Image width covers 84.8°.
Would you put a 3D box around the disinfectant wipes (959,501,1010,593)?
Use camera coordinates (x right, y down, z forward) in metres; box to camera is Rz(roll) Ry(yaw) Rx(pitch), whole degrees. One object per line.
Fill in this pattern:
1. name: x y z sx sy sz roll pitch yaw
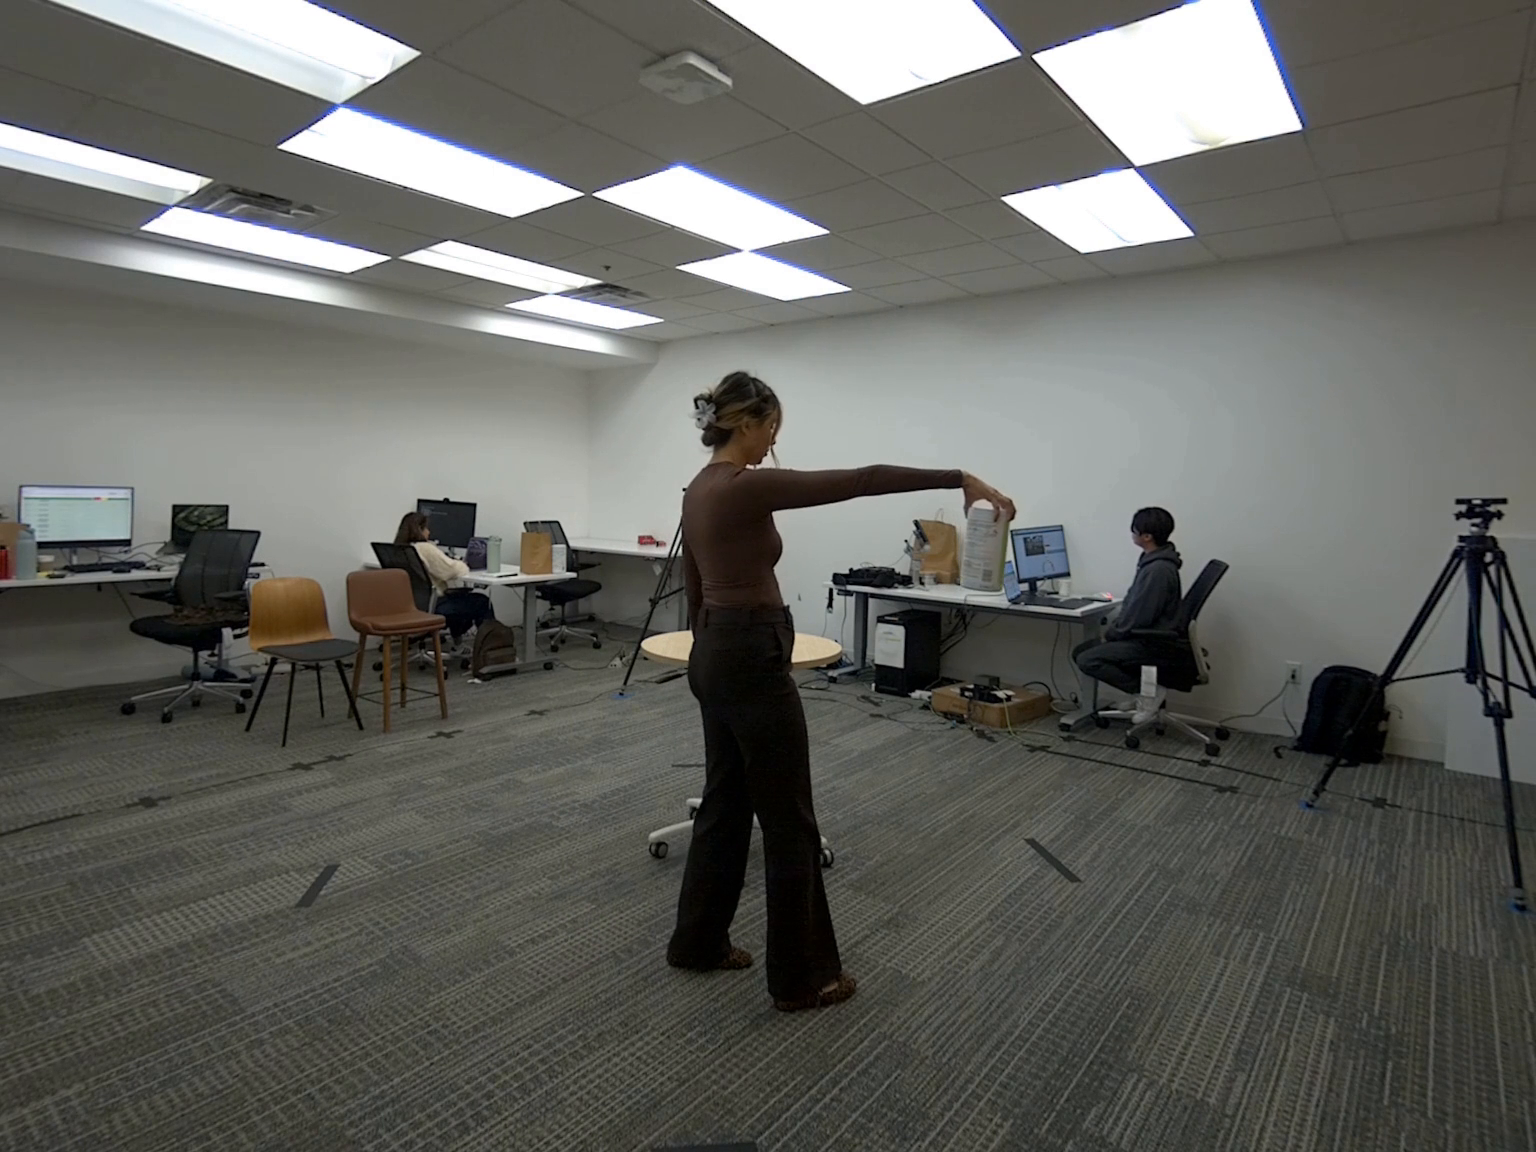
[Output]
1. disinfectant wipes: 0.572 -0.073 2.234 0.117 0.217 0.118 5 4 -2
